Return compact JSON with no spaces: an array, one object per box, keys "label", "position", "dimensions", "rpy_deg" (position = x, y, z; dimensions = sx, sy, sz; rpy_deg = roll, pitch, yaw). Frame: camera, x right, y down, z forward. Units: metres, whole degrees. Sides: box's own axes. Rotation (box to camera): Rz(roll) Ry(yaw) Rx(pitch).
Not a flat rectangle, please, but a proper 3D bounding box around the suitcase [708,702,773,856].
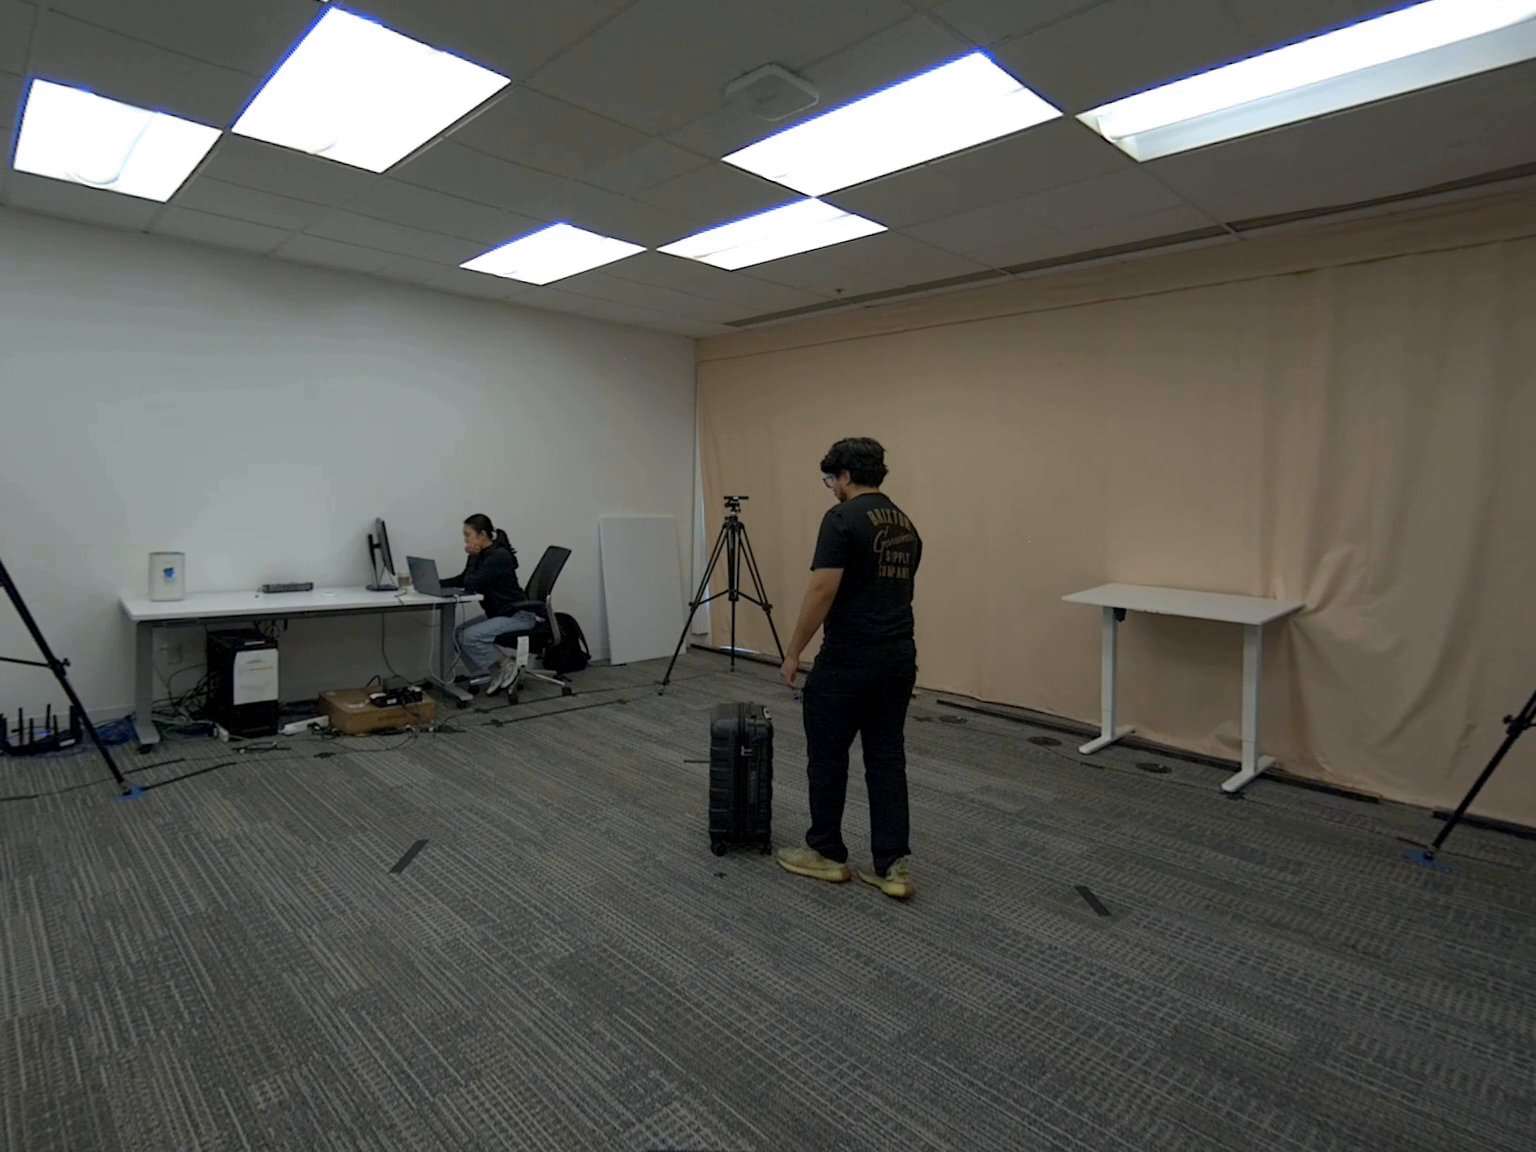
[{"label":"suitcase","position":[-0.113,0.800,3.411],"dimensions":[0.248,0.548,0.377],"rpy_deg":[2,4,-4]}]
